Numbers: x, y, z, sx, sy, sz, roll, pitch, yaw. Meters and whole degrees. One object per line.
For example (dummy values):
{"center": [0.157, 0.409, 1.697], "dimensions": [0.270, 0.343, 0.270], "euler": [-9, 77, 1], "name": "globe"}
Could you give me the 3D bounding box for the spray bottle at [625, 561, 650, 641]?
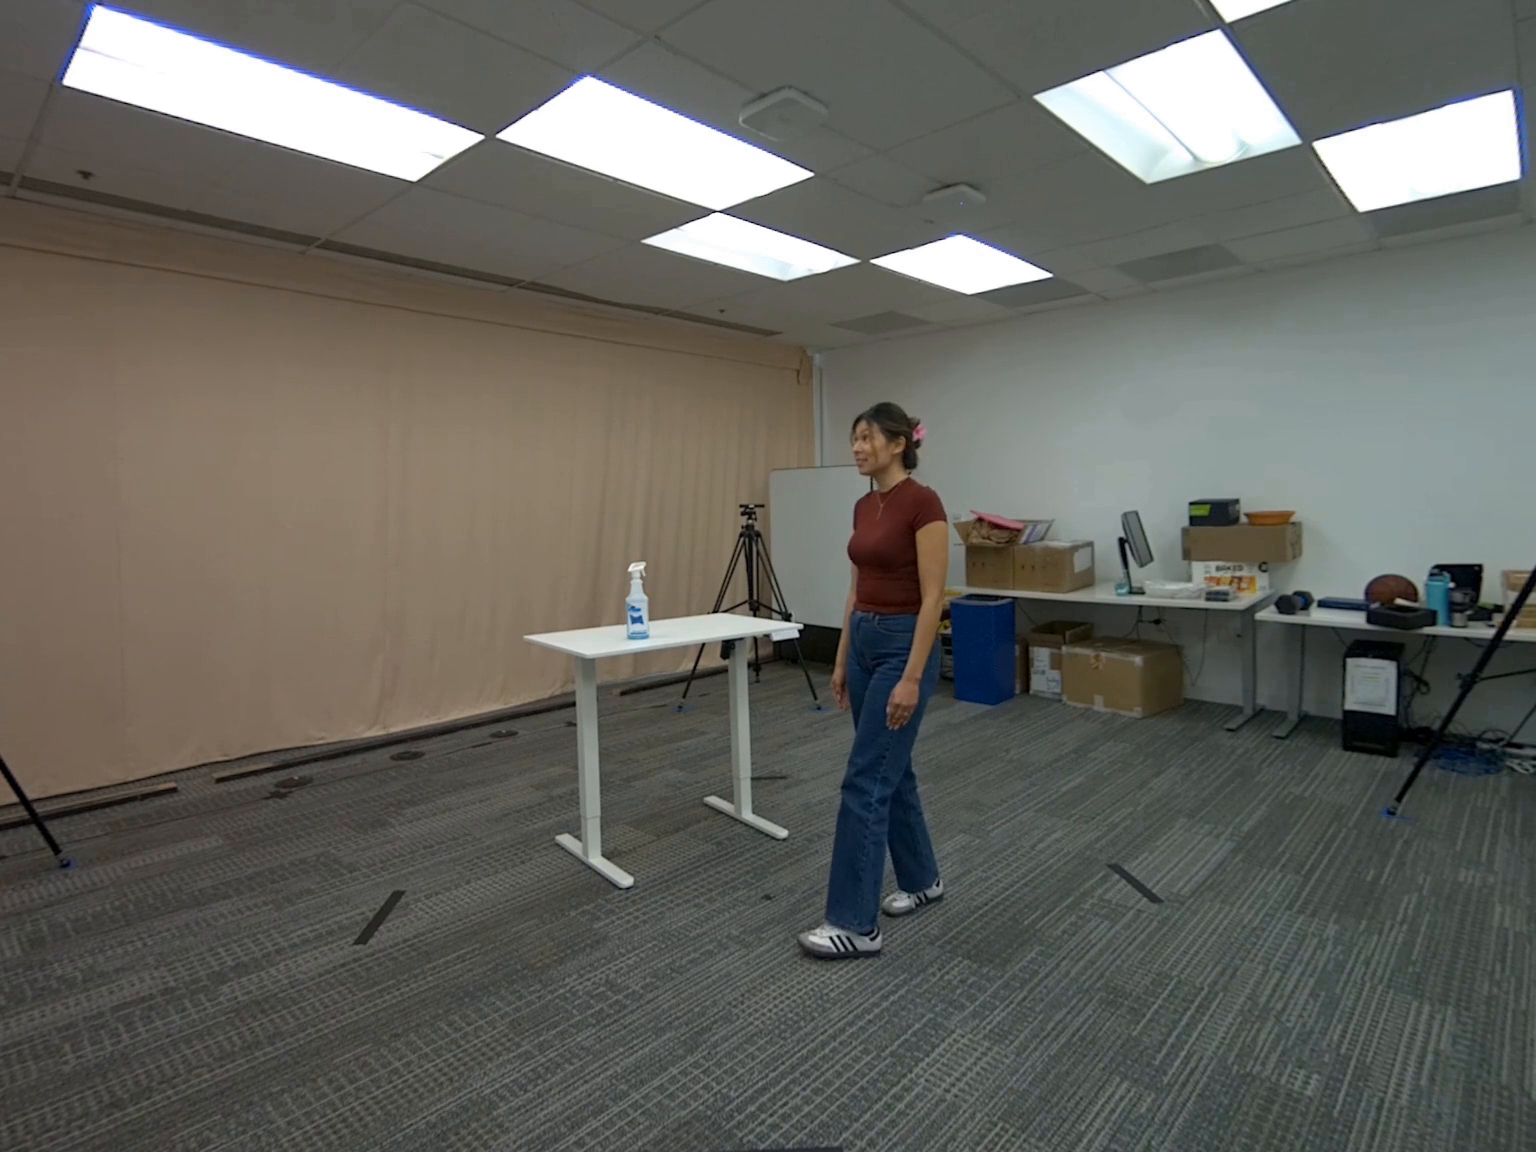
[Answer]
{"center": [-0.508, 0.099, 3.295], "dimensions": [0.088, 0.297, 0.089], "euler": [-3, 3, -26], "name": "spray bottle"}
